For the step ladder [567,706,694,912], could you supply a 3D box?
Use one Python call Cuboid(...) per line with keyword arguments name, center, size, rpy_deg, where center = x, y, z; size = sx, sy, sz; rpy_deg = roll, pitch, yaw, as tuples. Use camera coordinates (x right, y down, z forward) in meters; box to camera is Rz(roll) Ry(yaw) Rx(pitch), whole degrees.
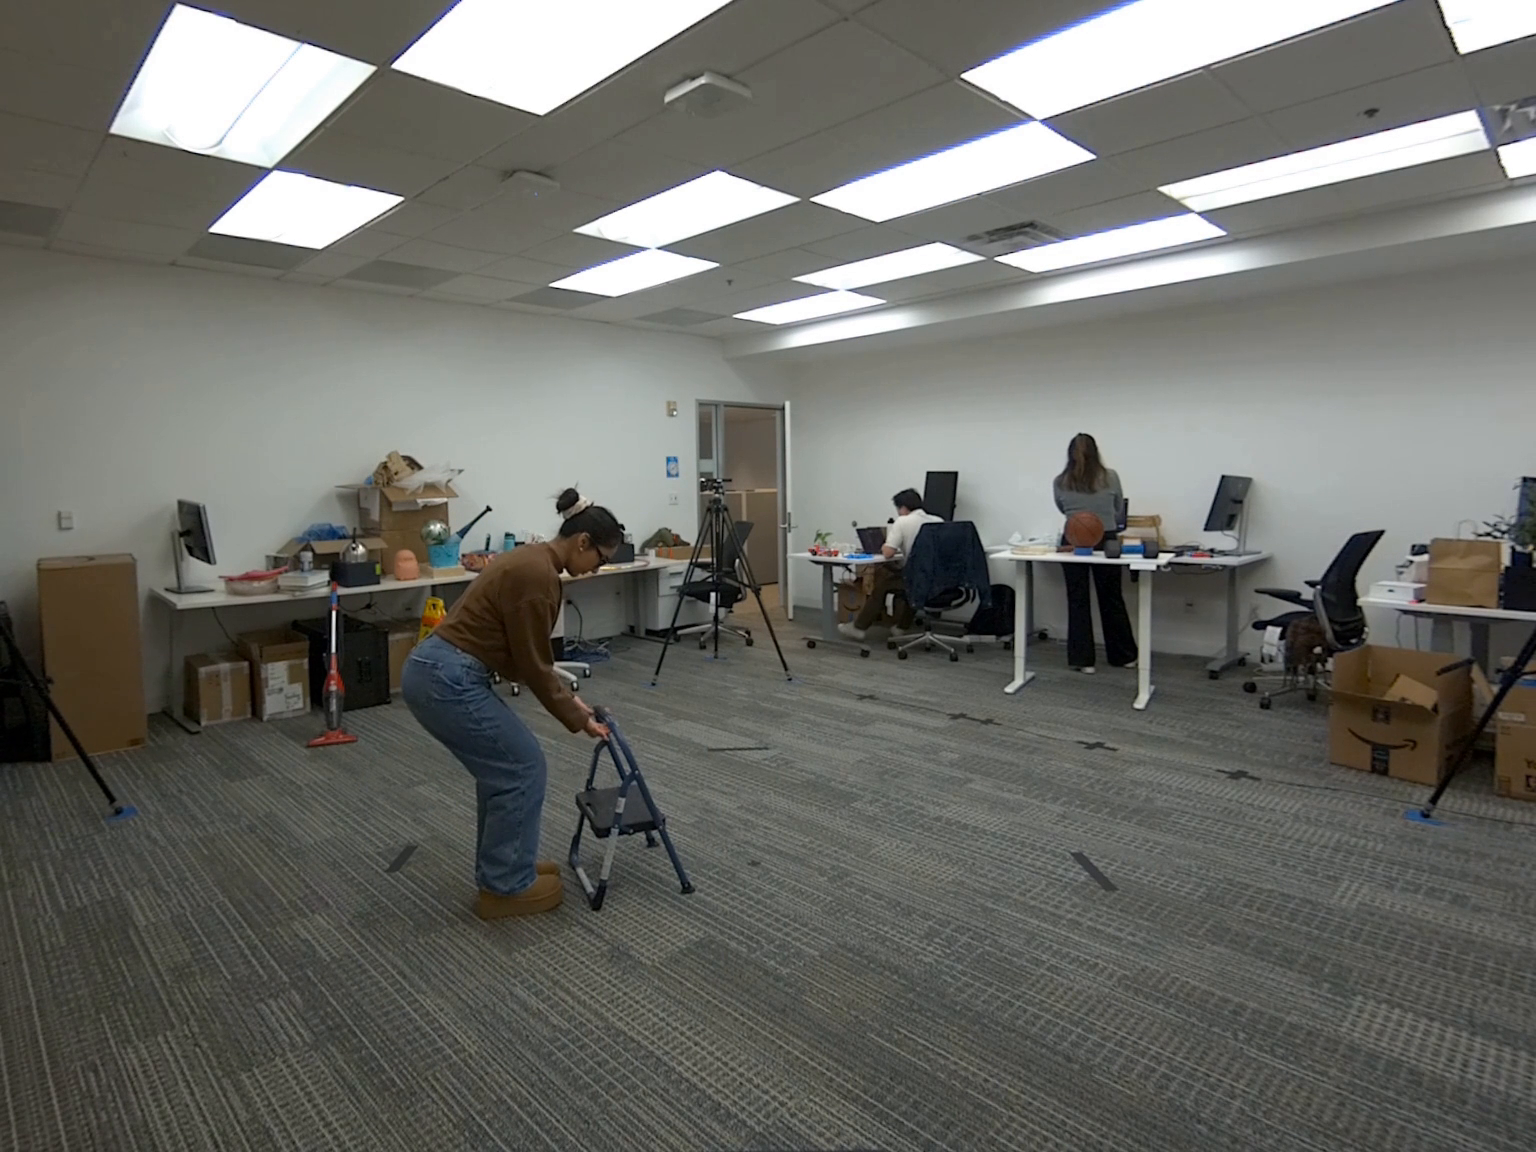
Cuboid(name="step ladder", center=(-0.497, 0.759, 3.015), size=(0.342, 0.604, 0.441), rpy_deg=(-3, 5, -25))
